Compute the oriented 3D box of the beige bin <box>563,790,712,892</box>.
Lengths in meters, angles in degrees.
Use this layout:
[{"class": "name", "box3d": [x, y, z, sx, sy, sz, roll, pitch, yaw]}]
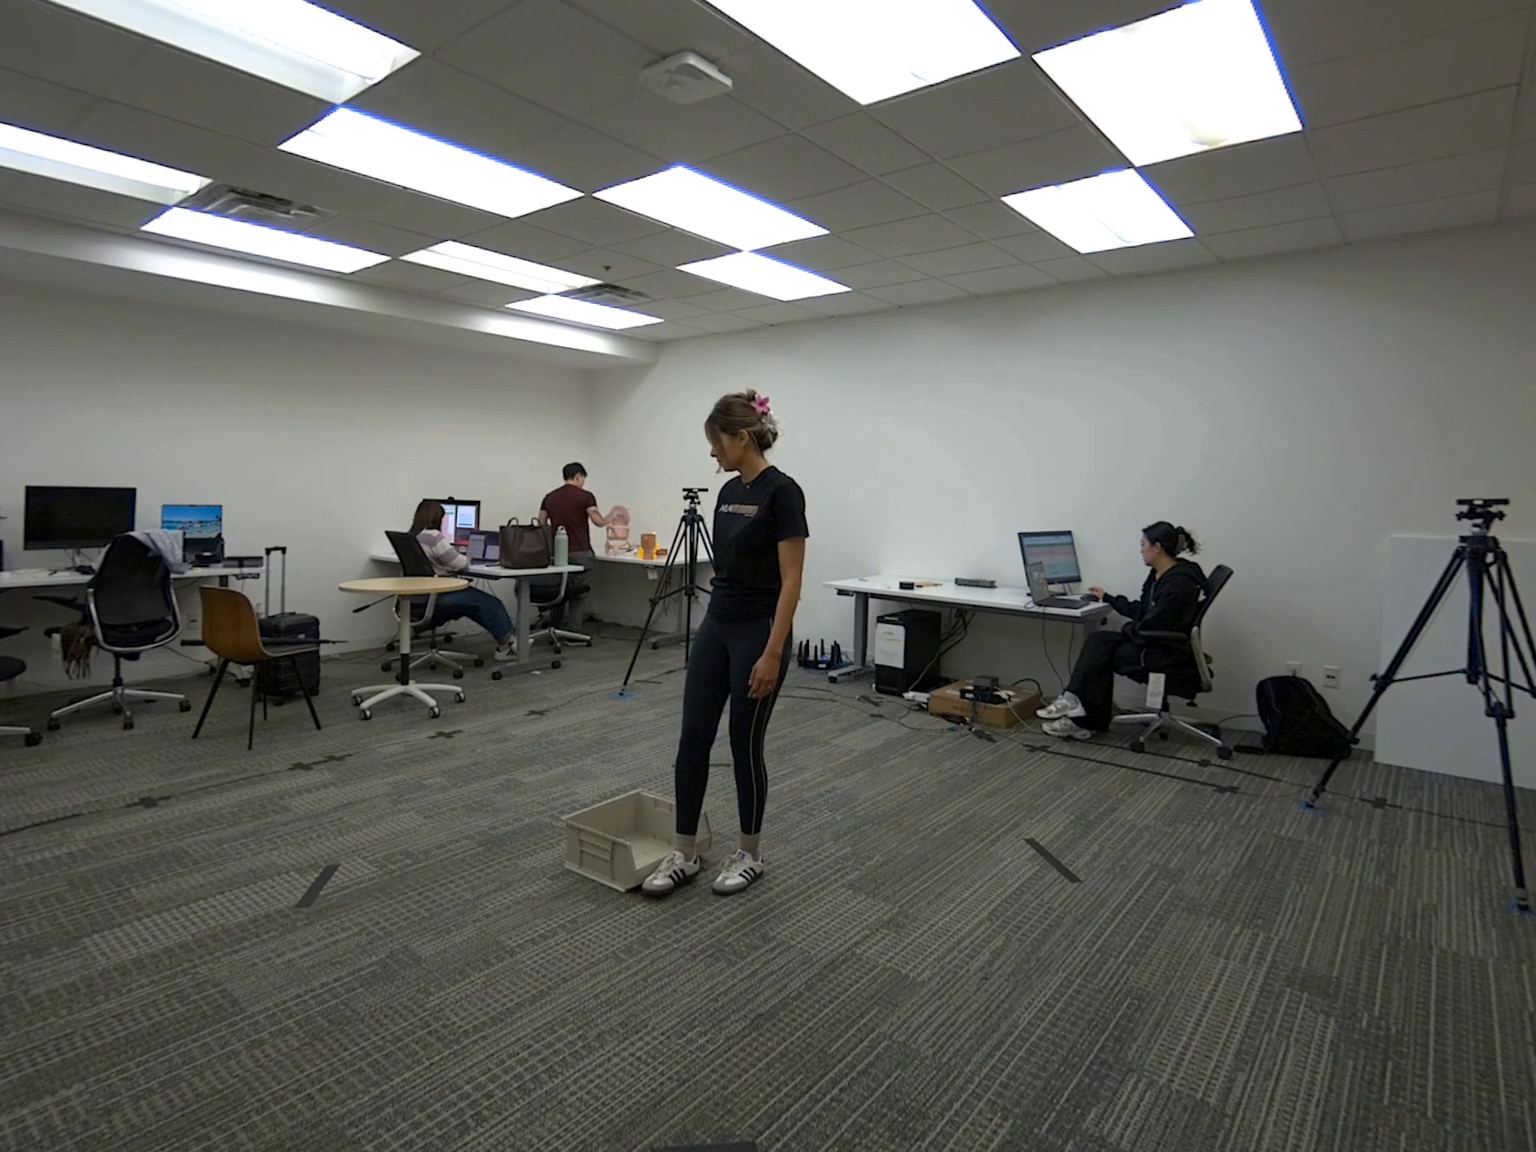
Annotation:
[{"class": "beige bin", "box3d": [-0.492, 0.970, 3.152, 0.389, 0.188, 0.410, 3, 6, 37]}]
